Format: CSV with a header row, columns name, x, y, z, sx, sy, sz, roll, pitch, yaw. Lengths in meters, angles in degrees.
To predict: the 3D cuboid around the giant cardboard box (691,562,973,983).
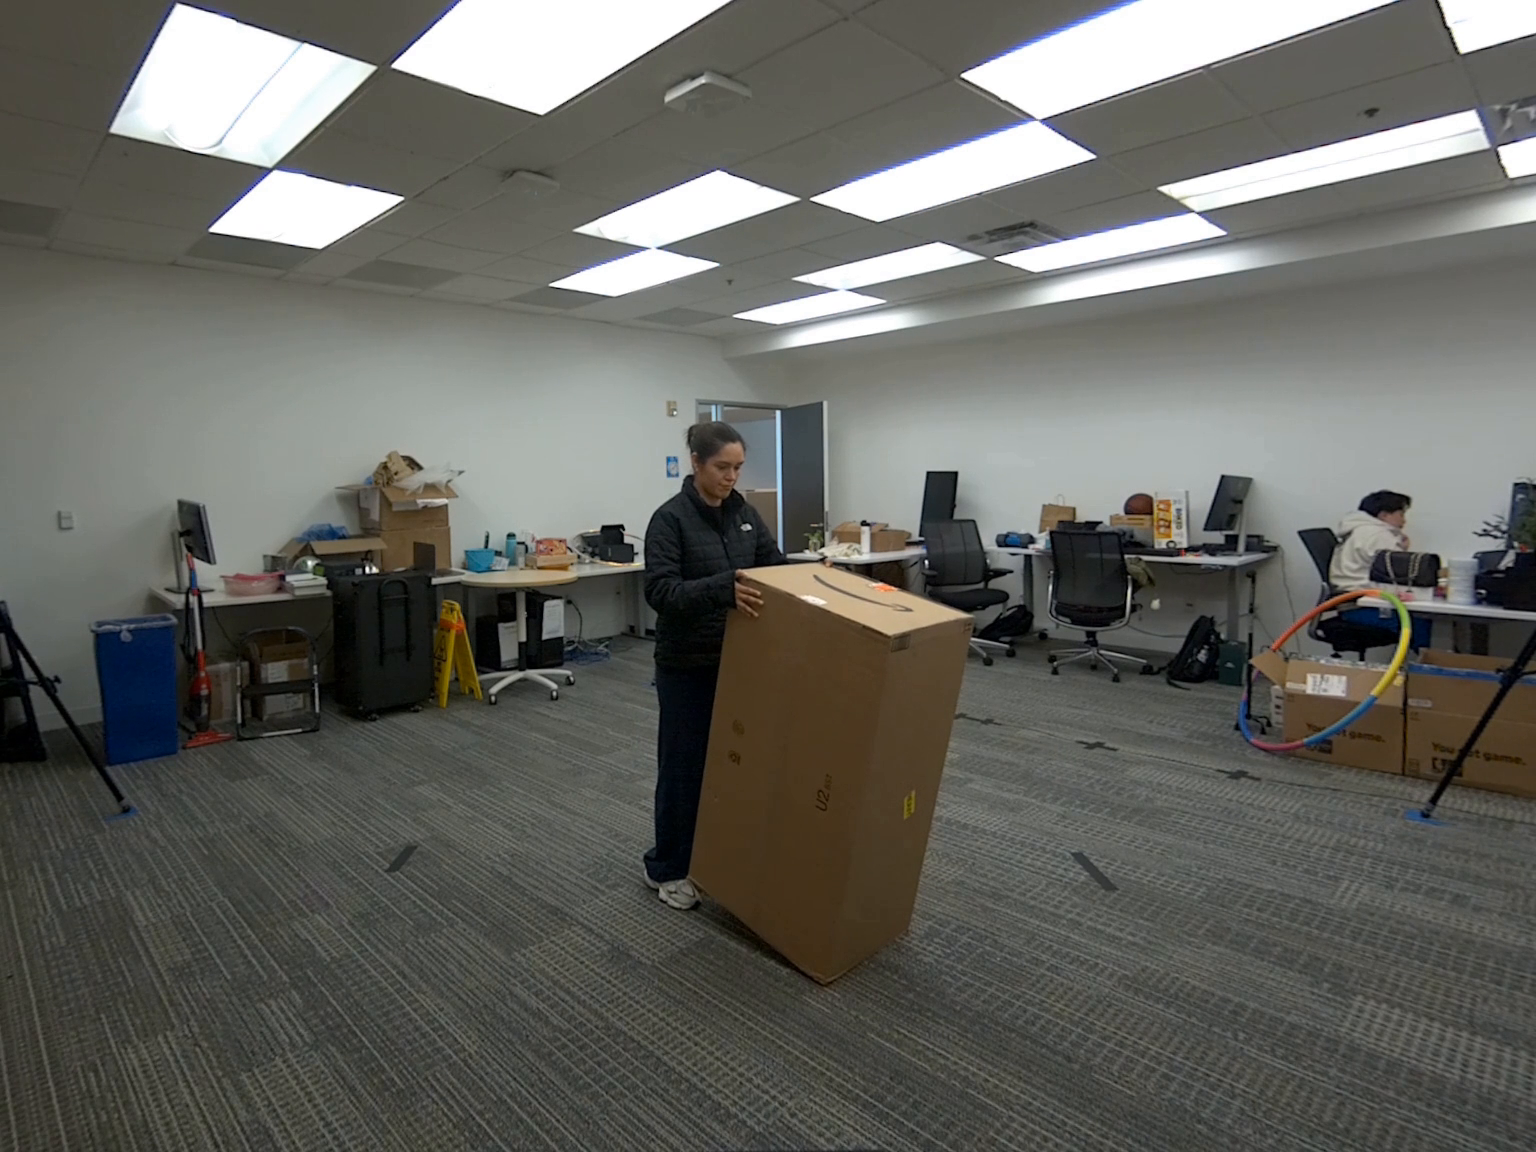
name,x,y,z,sx,sy,sz,roll,pitch,yaw
giant cardboard box,0.174,0.545,2.585,0.599,1.016,0.415,20,16,42
